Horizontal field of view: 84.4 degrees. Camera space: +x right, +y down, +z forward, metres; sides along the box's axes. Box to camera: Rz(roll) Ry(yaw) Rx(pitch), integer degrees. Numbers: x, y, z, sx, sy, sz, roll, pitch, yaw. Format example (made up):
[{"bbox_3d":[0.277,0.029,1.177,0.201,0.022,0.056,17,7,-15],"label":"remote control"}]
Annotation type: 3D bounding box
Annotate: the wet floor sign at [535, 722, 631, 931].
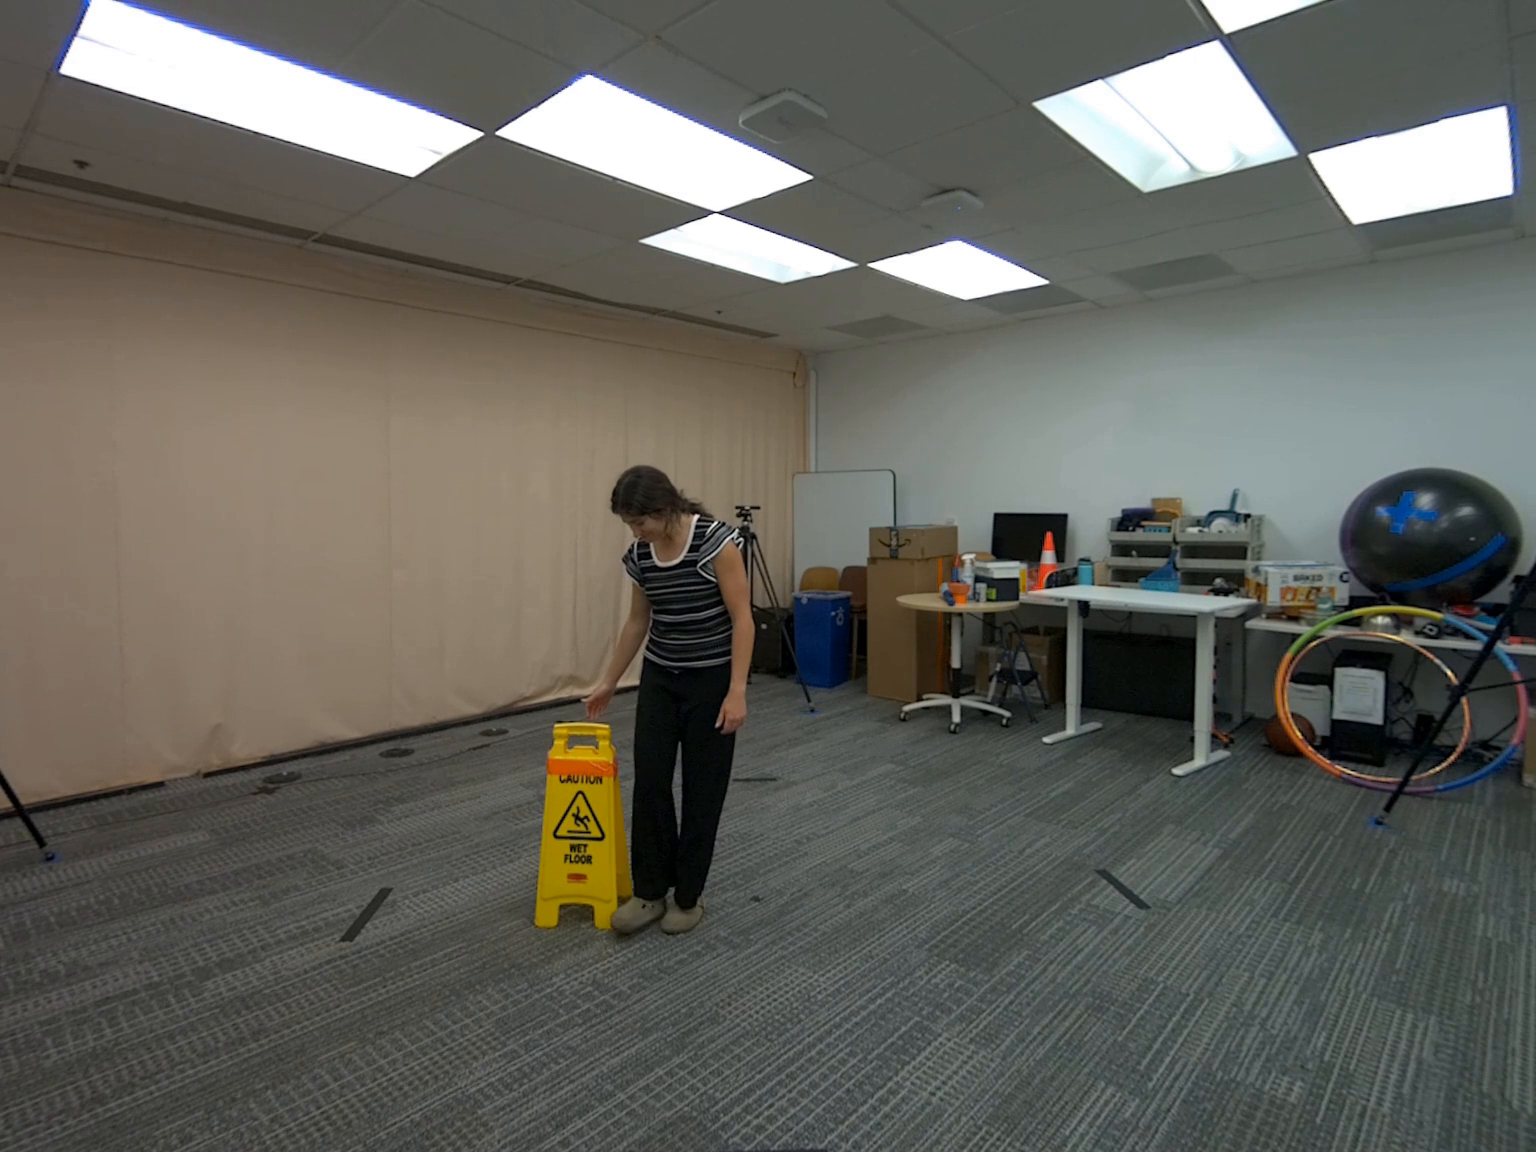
[{"bbox_3d":[-0.637,0.834,2.894,0.284,0.645,0.289,0,2,3],"label":"wet floor sign"}]
